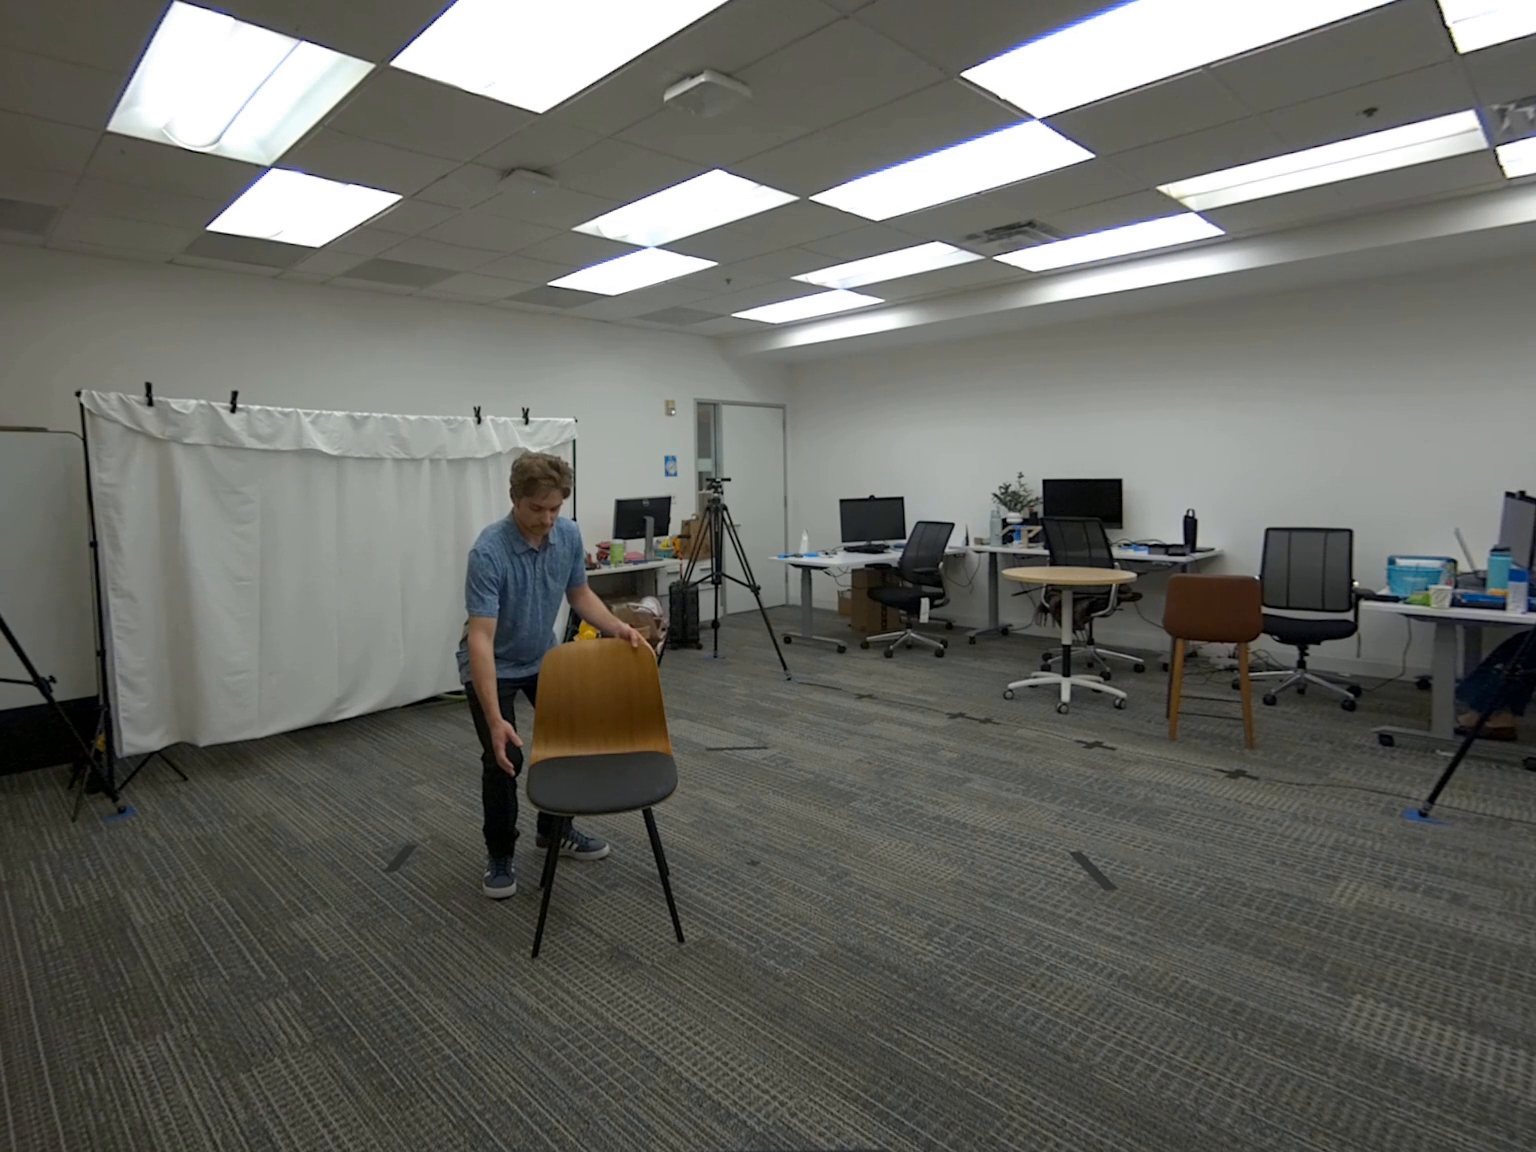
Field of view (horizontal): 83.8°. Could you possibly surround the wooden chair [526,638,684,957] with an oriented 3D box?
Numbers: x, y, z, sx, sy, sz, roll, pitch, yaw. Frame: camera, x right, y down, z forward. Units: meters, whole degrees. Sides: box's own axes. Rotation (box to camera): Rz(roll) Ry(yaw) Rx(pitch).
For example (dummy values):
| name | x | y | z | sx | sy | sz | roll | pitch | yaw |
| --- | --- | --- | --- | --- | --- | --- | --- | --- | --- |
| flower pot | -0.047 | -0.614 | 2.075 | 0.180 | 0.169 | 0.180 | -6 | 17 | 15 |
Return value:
| name | x | y | z | sx | sy | sz | roll | pitch | yaw |
| --- | --- | --- | --- | --- | --- | --- | --- | --- | --- |
| wooden chair | -0.517 | 0.663 | 2.720 | 0.473 | 0.877 | 0.529 | -1 | 1 | -12 |
